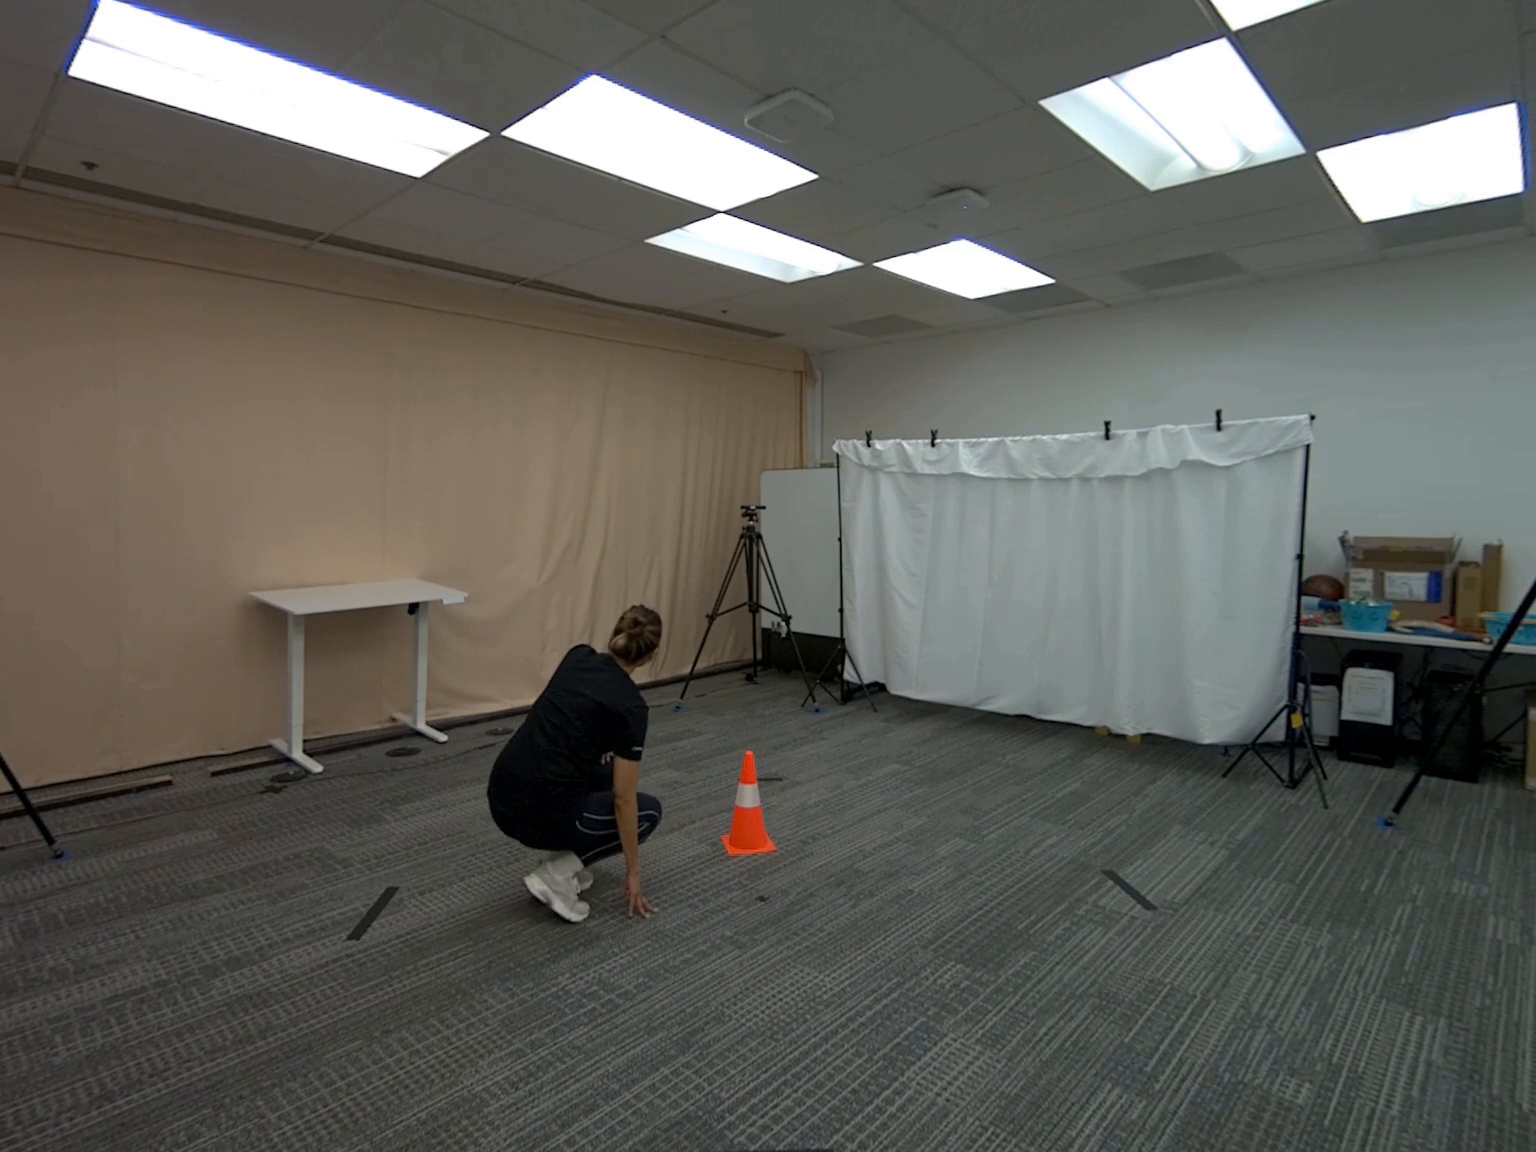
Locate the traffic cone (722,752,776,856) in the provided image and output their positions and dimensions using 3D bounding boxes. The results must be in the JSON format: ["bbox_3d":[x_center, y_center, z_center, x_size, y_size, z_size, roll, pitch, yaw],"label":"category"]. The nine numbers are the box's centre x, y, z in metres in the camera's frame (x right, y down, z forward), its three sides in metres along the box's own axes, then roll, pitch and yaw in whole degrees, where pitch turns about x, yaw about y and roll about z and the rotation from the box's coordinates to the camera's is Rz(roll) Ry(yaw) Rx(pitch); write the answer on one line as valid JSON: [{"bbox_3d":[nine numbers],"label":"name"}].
[{"bbox_3d":[-0.087,0.916,3.466,0.203,0.383,0.205,-3,1,-9],"label":"traffic cone"}]
